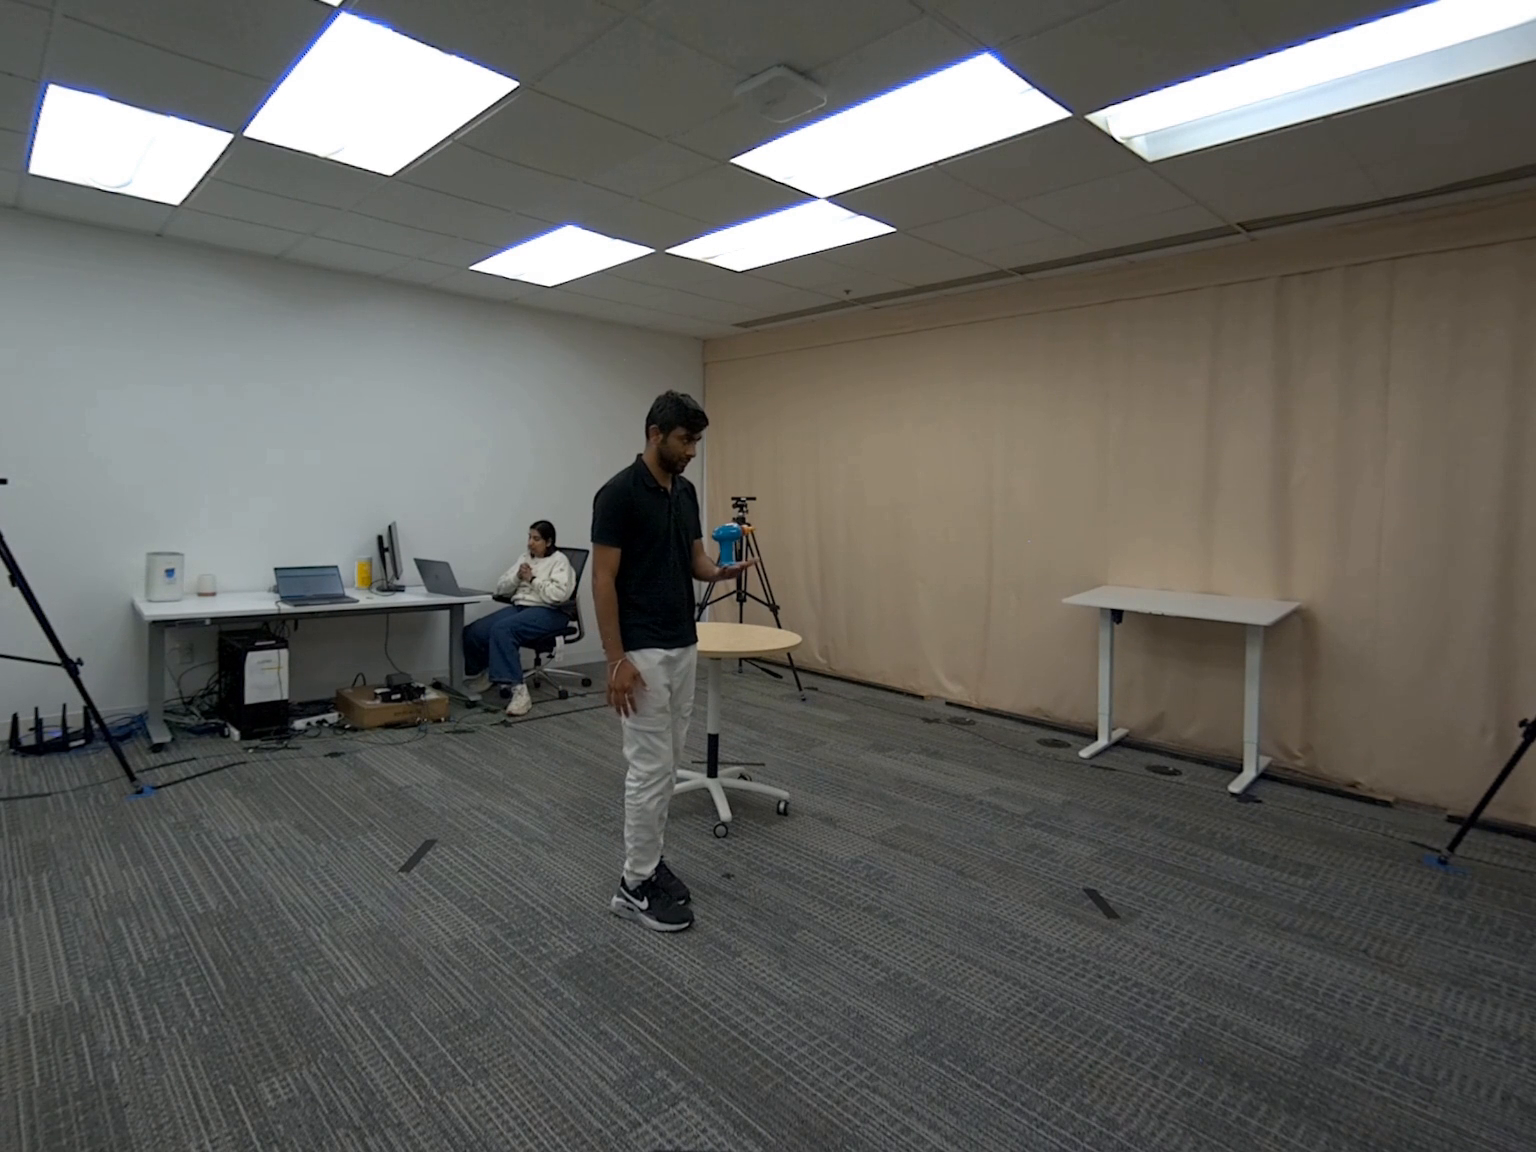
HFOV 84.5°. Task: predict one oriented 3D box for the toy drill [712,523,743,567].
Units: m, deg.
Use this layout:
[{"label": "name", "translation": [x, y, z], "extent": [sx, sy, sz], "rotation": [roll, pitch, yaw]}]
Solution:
[{"label": "toy drill", "translation": [-0.107, -0.104, 2.735], "extent": [0.167, 0.145, 0.062], "rotation": [-11, 7, -29]}]
